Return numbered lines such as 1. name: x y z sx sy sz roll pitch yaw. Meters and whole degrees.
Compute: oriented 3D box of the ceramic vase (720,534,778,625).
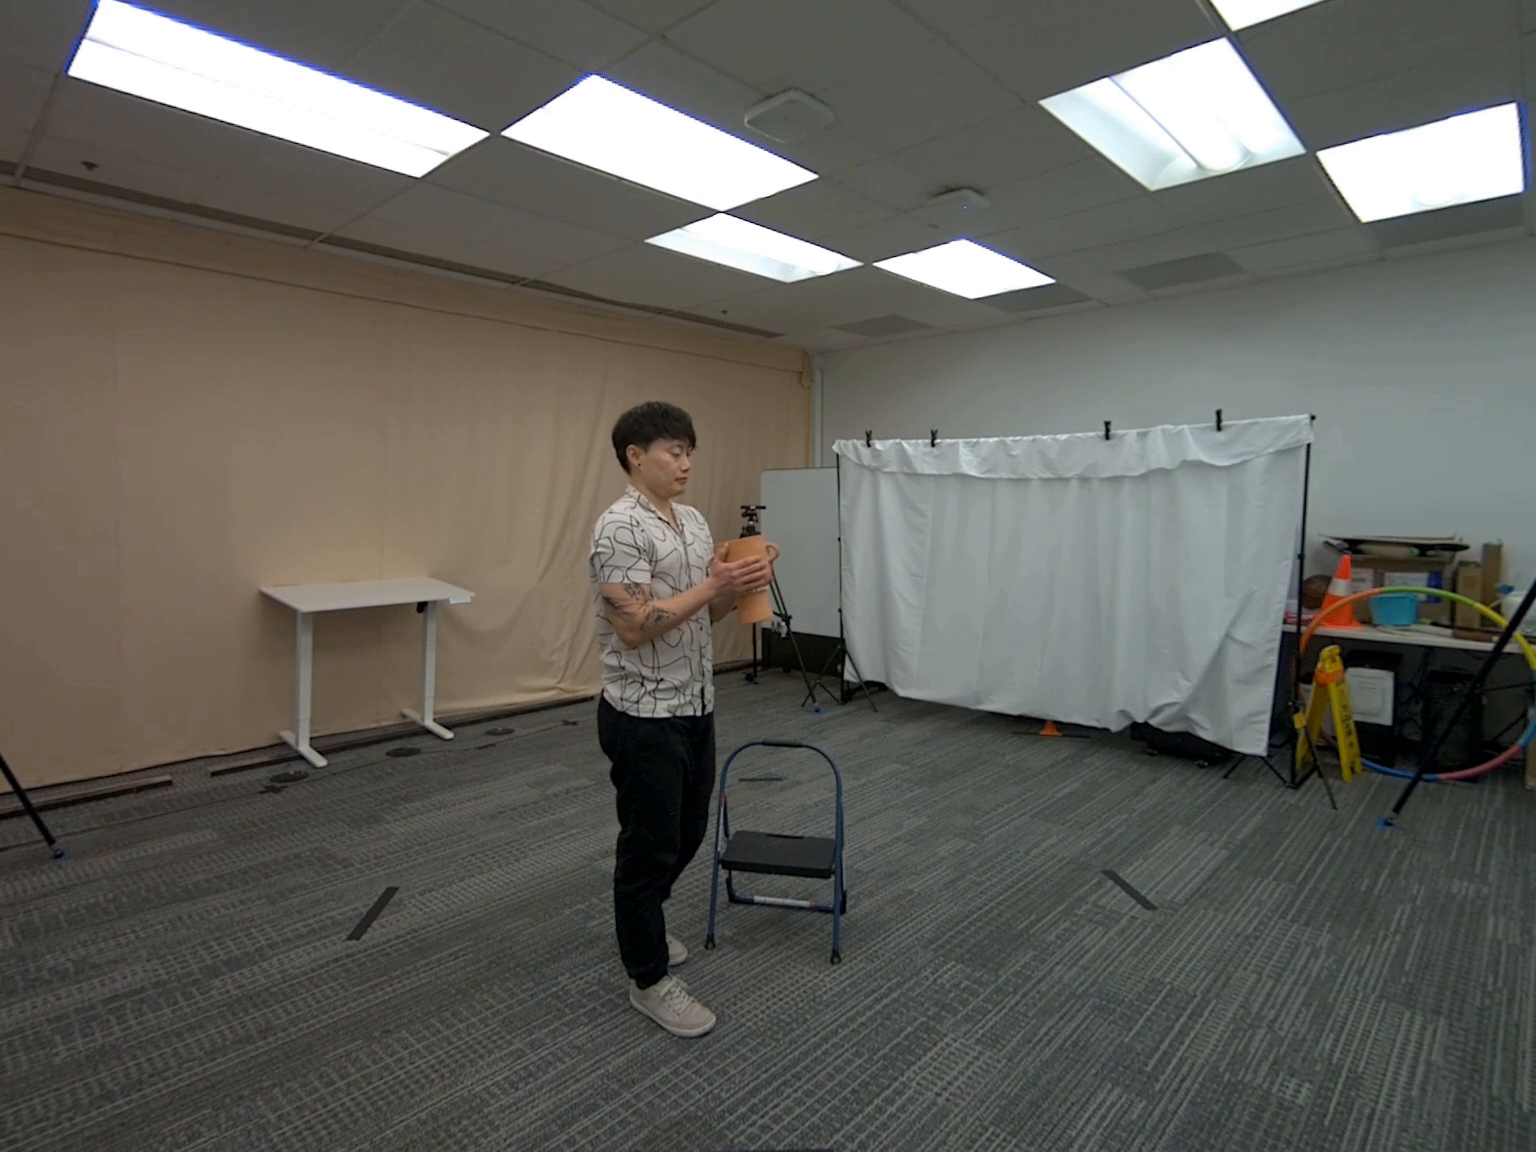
1. ceramic vase: -0.082 0.011 2.203 0.131 0.220 0.163 -5 -4 -36
